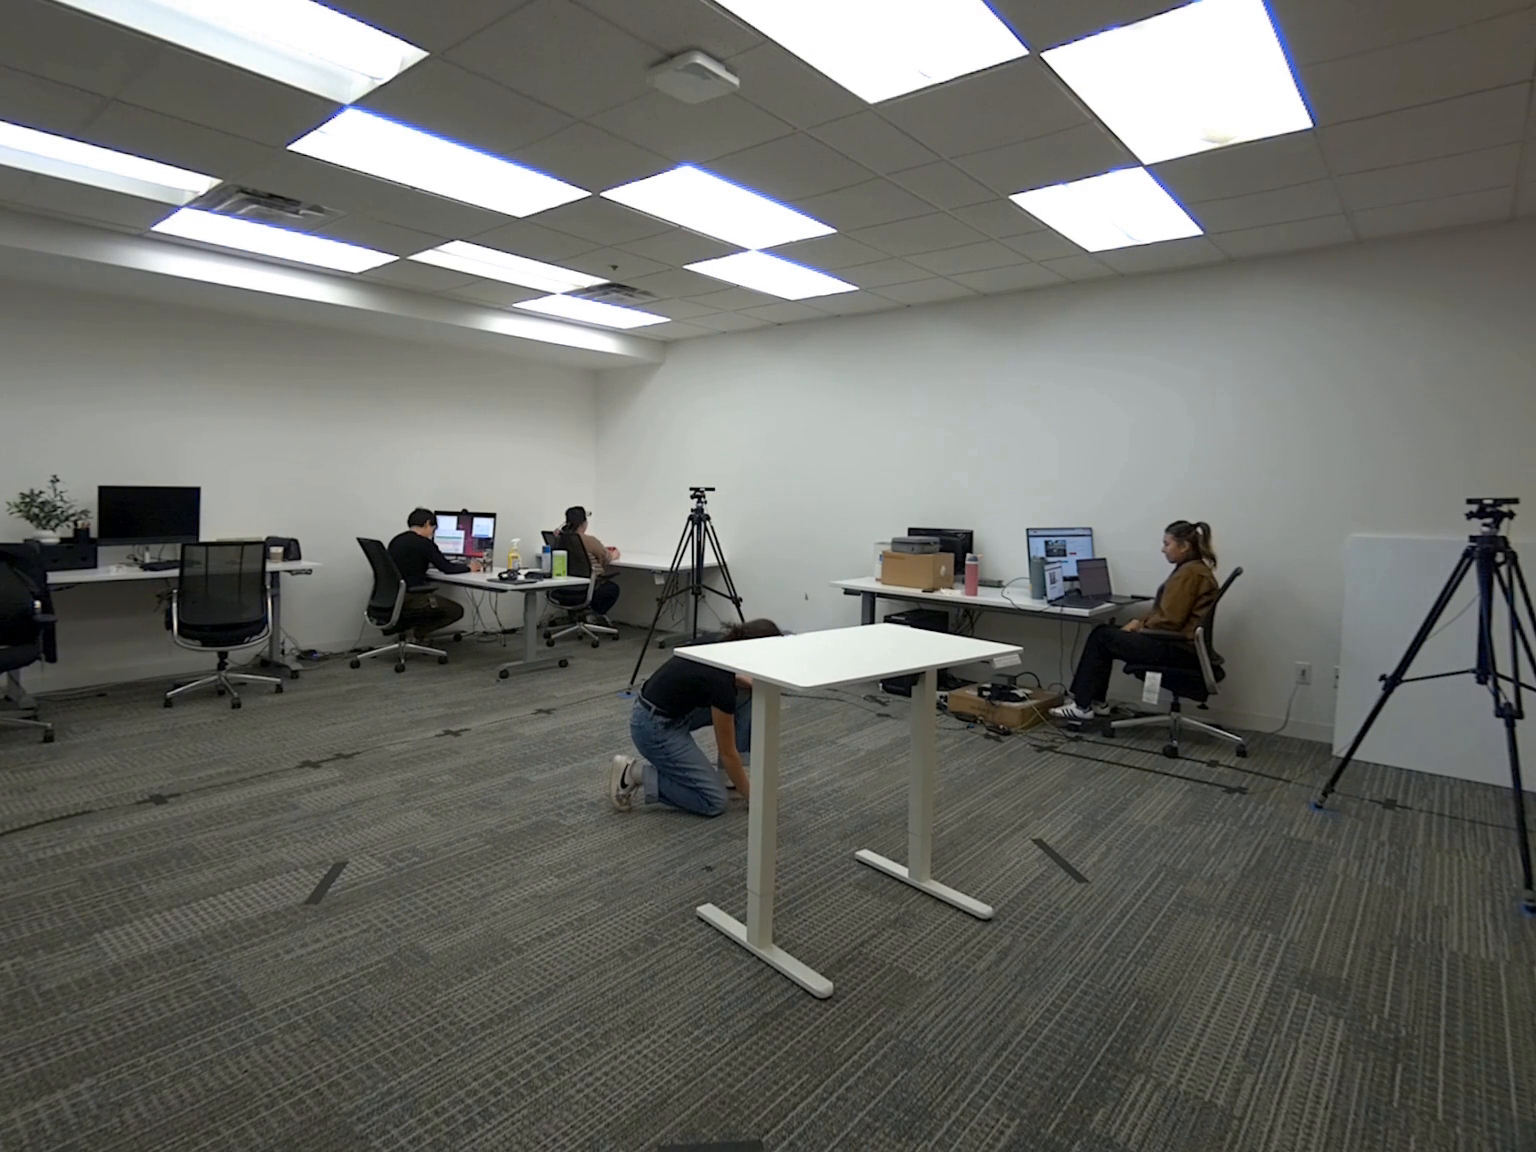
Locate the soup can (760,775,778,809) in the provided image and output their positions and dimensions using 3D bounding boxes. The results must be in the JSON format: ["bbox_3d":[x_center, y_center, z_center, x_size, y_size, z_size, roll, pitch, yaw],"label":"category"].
[{"bbox_3d":[0.002,0.951,3.713,0.067,0.121,0.067,2,4,-2],"label":"soup can"}]
